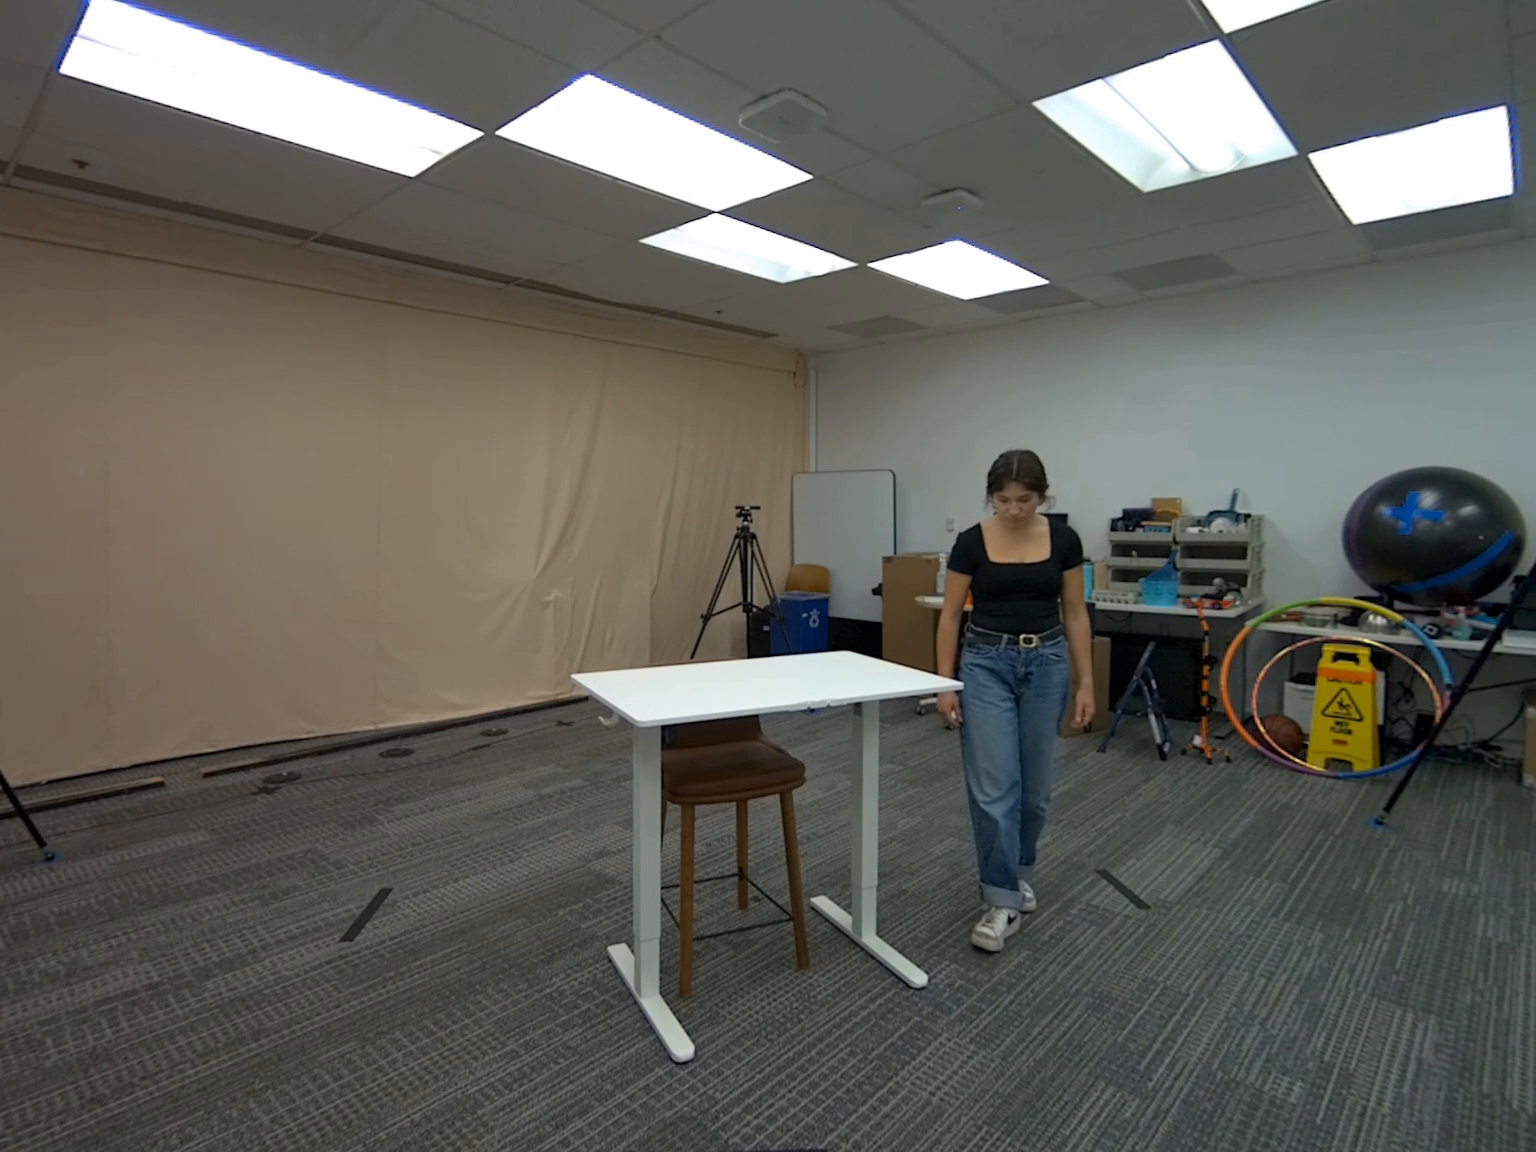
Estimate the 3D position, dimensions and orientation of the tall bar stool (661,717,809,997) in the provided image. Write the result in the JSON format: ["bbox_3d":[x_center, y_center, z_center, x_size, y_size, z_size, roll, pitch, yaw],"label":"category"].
[{"bbox_3d":[-0.150,0.747,2.641,0.446,0.889,0.479,-1,2,-24],"label":"tall bar stool"}]
